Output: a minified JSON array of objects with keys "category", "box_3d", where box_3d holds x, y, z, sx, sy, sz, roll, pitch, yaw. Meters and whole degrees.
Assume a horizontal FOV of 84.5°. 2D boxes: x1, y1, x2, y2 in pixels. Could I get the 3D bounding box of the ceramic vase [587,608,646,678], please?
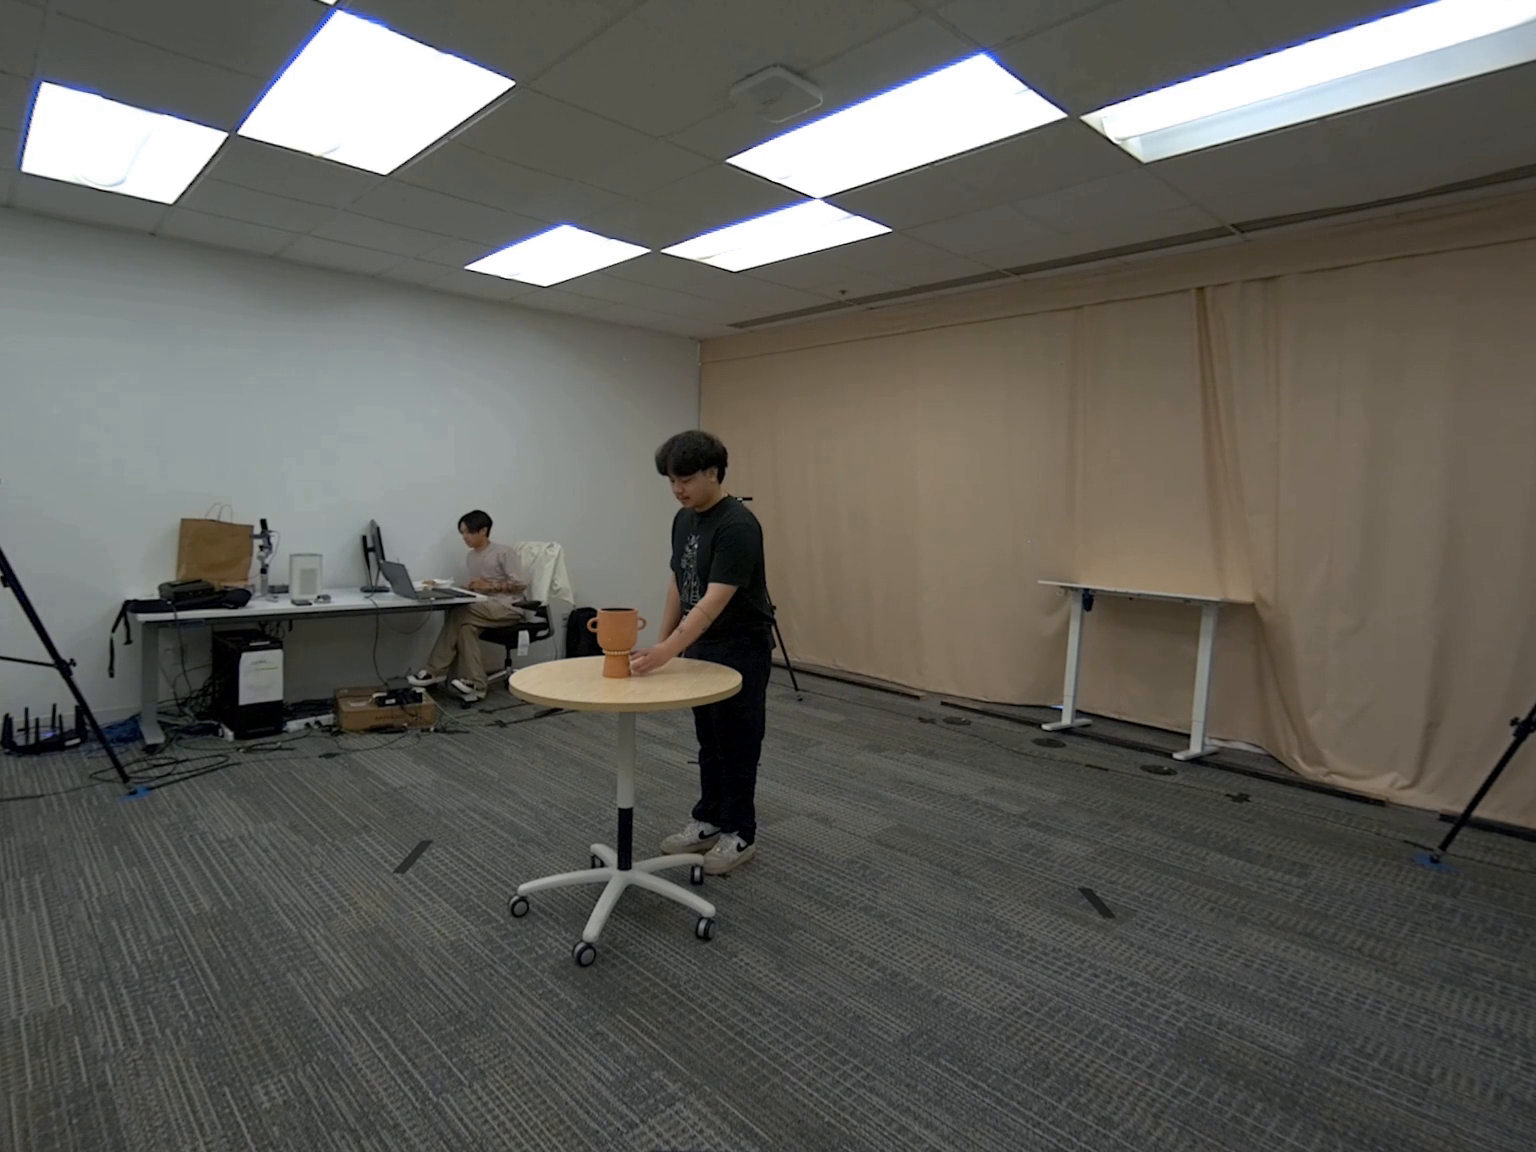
[{"category":"ceramic vase","box_3d":[-0.519,0.228,2.795,0.161,0.219,0.133,2,5,20]}]
